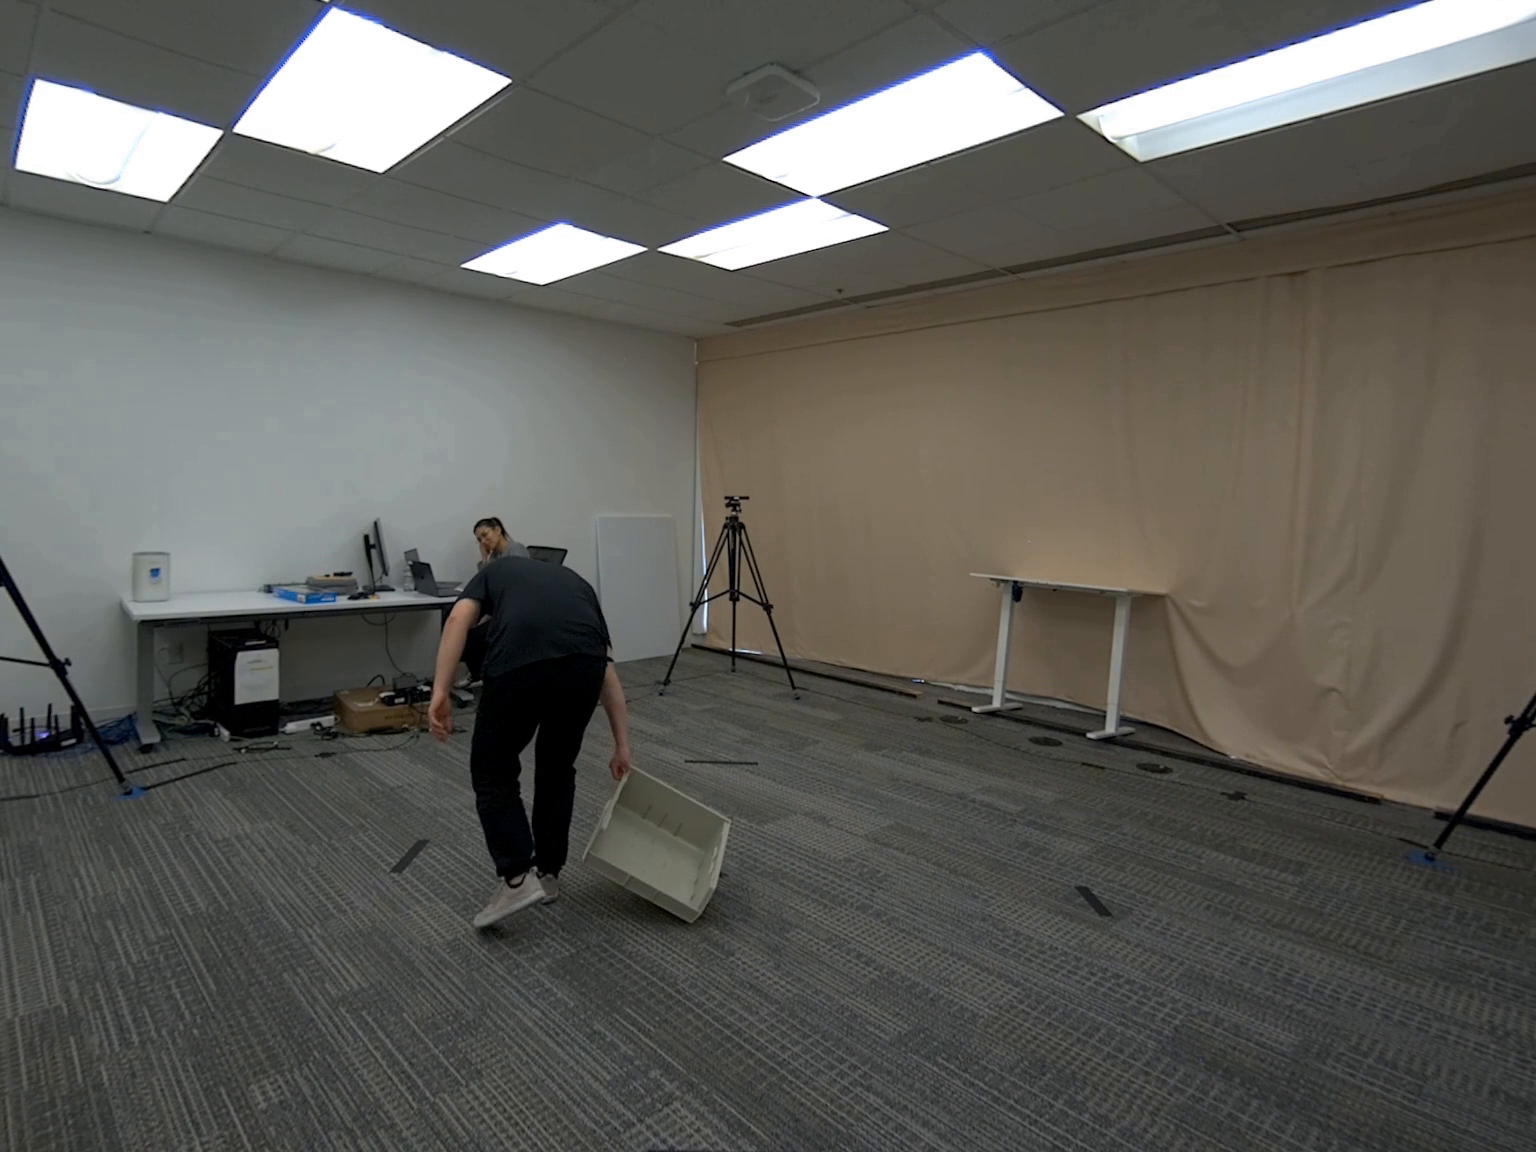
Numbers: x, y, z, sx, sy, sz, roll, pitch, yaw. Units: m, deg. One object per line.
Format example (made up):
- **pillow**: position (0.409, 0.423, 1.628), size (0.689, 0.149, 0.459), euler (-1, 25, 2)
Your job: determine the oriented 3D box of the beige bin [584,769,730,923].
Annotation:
- **beige bin**: position (-0.375, 0.912, 2.854), size (0.420, 0.188, 0.381), euler (28, 18, -5)
